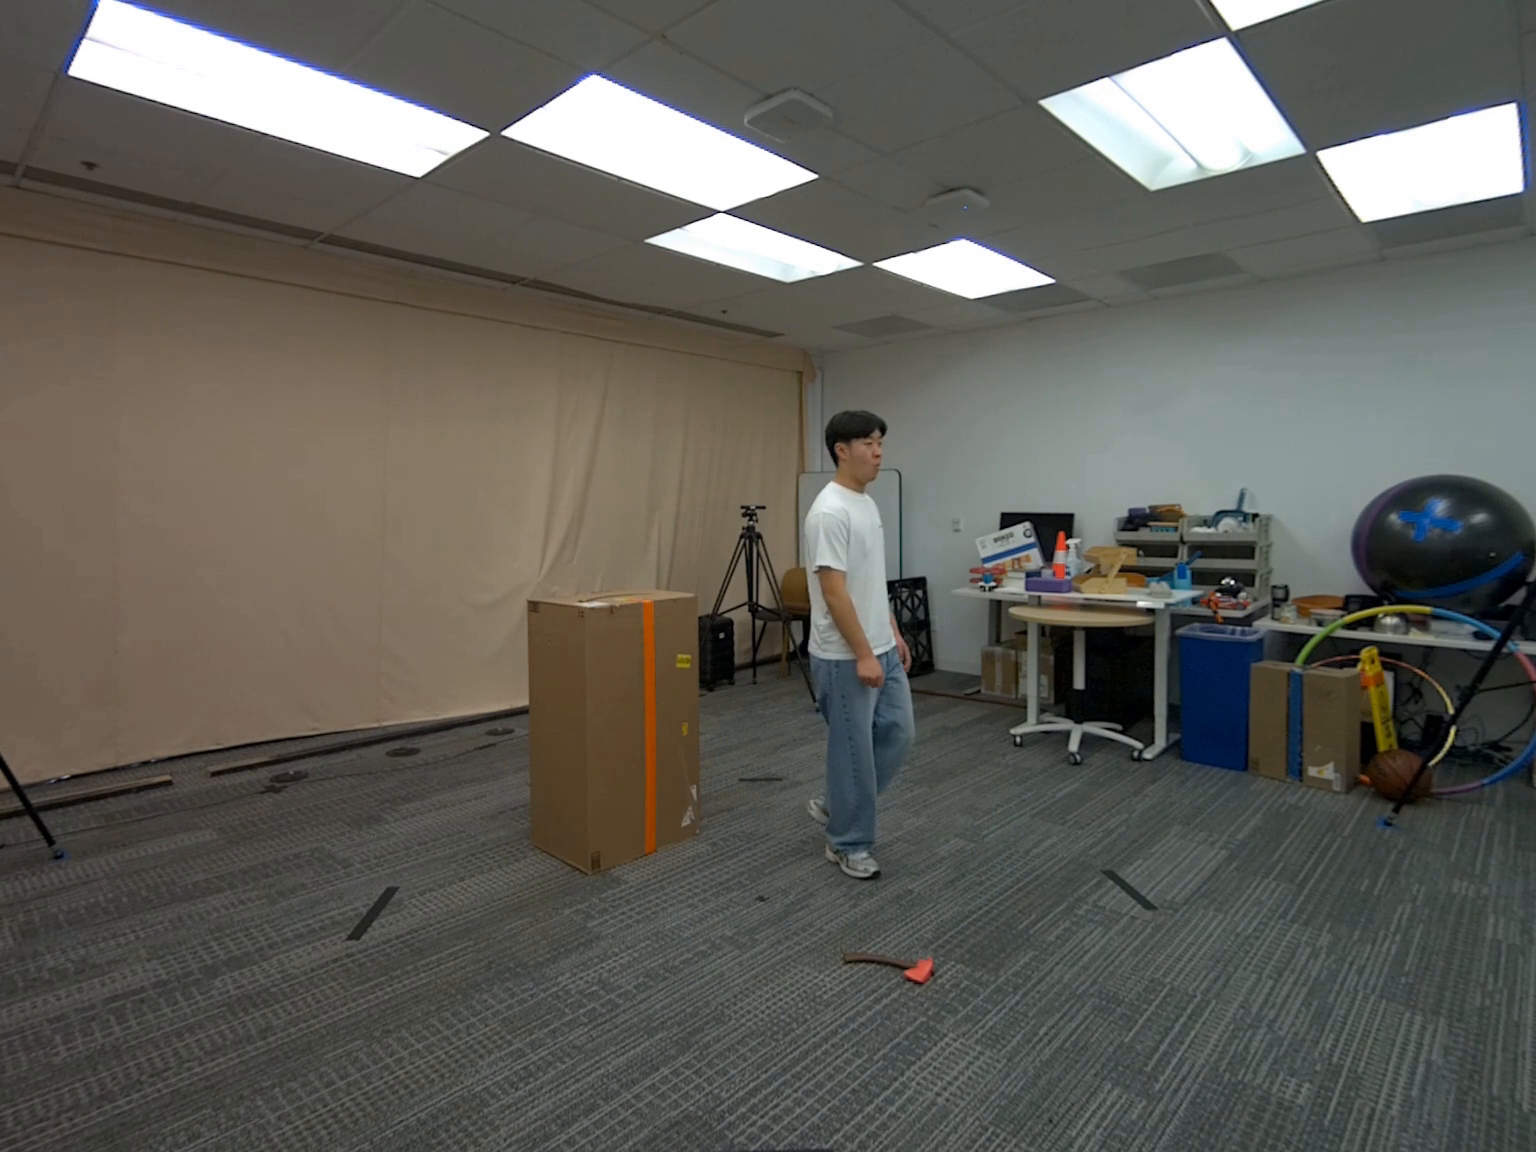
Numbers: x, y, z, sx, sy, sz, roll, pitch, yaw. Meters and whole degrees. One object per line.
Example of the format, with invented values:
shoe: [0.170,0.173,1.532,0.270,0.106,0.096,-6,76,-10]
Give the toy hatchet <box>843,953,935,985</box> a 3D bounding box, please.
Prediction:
toy hatchet: [0.359,1.163,2.515,0.272,0.029,0.130,-2,7,7]
